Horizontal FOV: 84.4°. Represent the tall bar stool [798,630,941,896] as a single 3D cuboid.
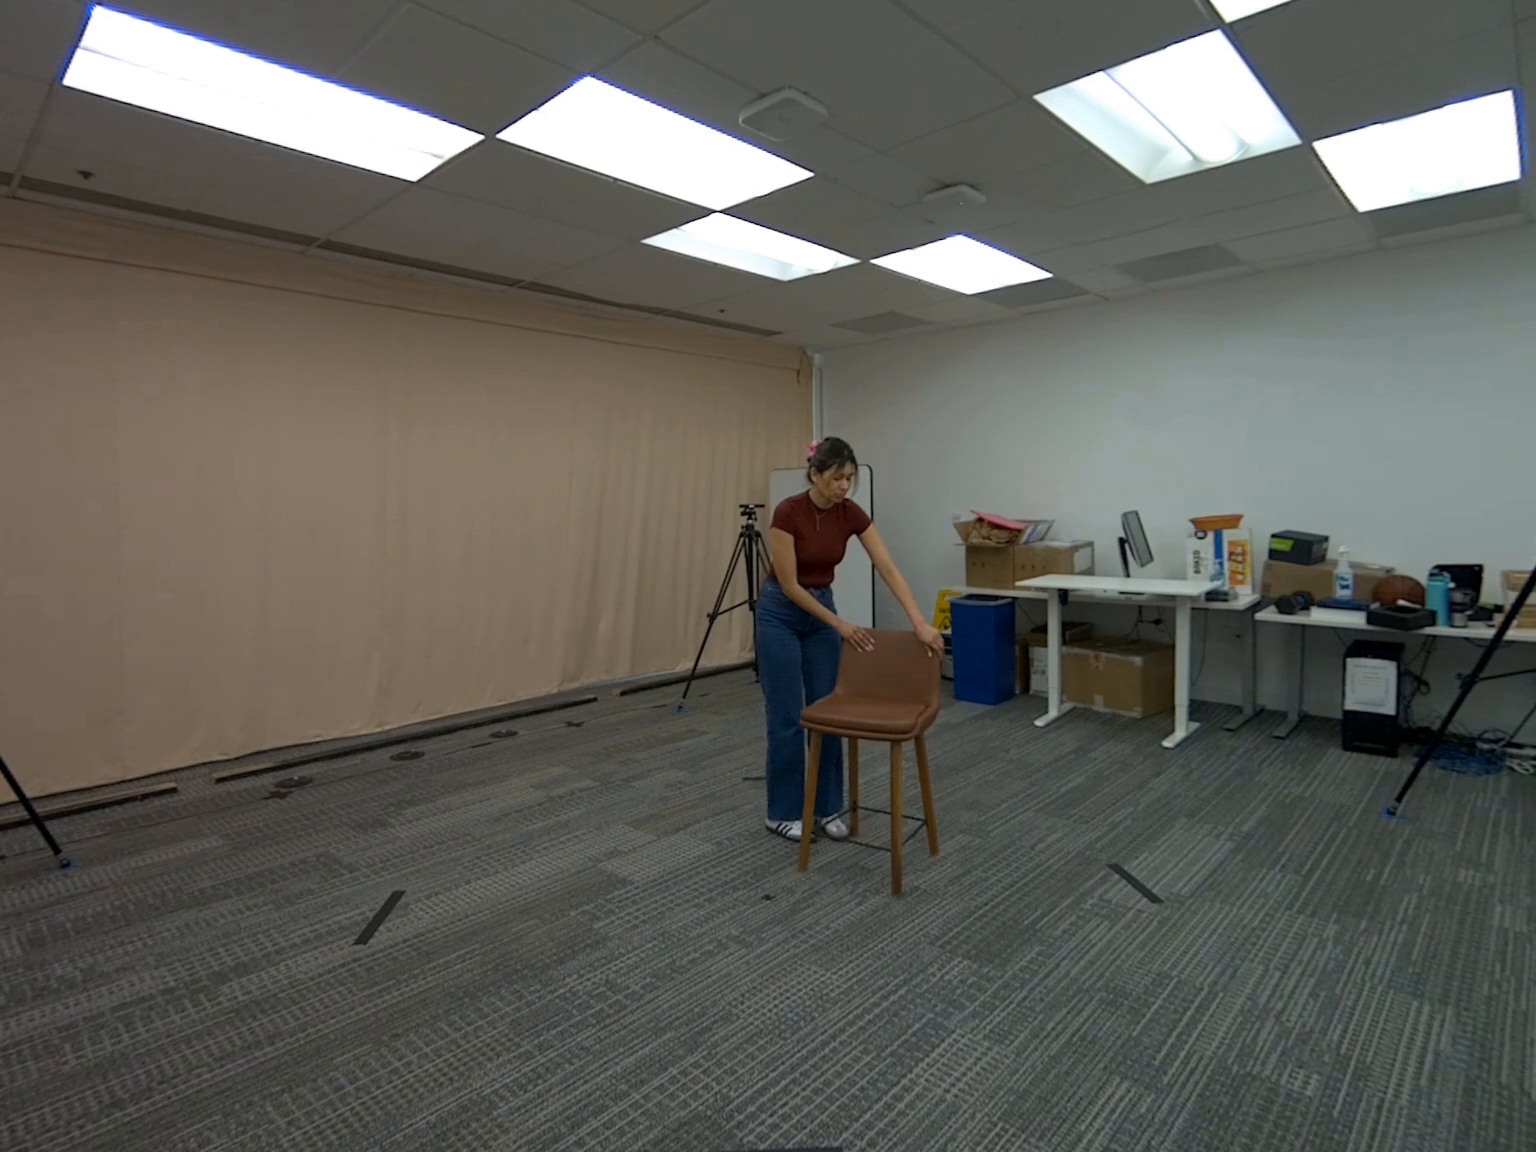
[{"bbox_3d":[0.416,0.673,3.237,0.470,0.889,0.454,1,1,32],"label":"tall bar stool"}]
